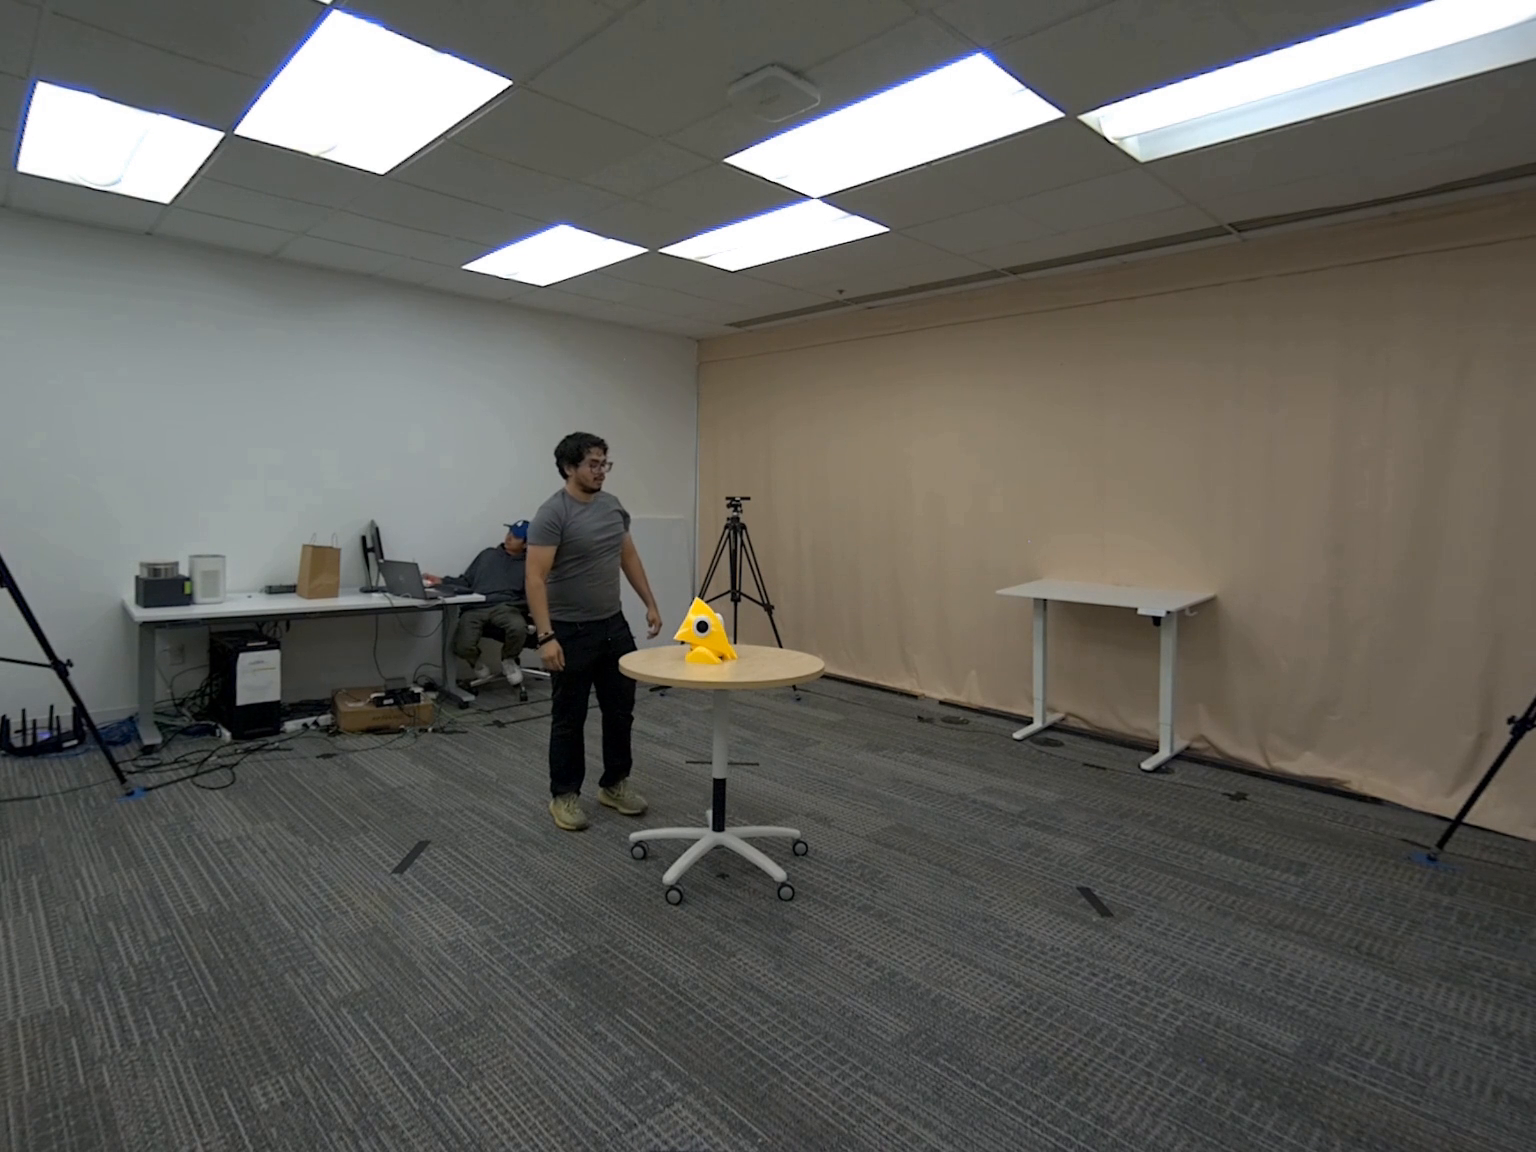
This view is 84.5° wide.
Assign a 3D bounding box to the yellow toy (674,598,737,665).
[{"bbox_3d":[-0.228,0.199,3.180,0.197,0.230,0.201,3,4,30],"label":"yellow toy"}]
